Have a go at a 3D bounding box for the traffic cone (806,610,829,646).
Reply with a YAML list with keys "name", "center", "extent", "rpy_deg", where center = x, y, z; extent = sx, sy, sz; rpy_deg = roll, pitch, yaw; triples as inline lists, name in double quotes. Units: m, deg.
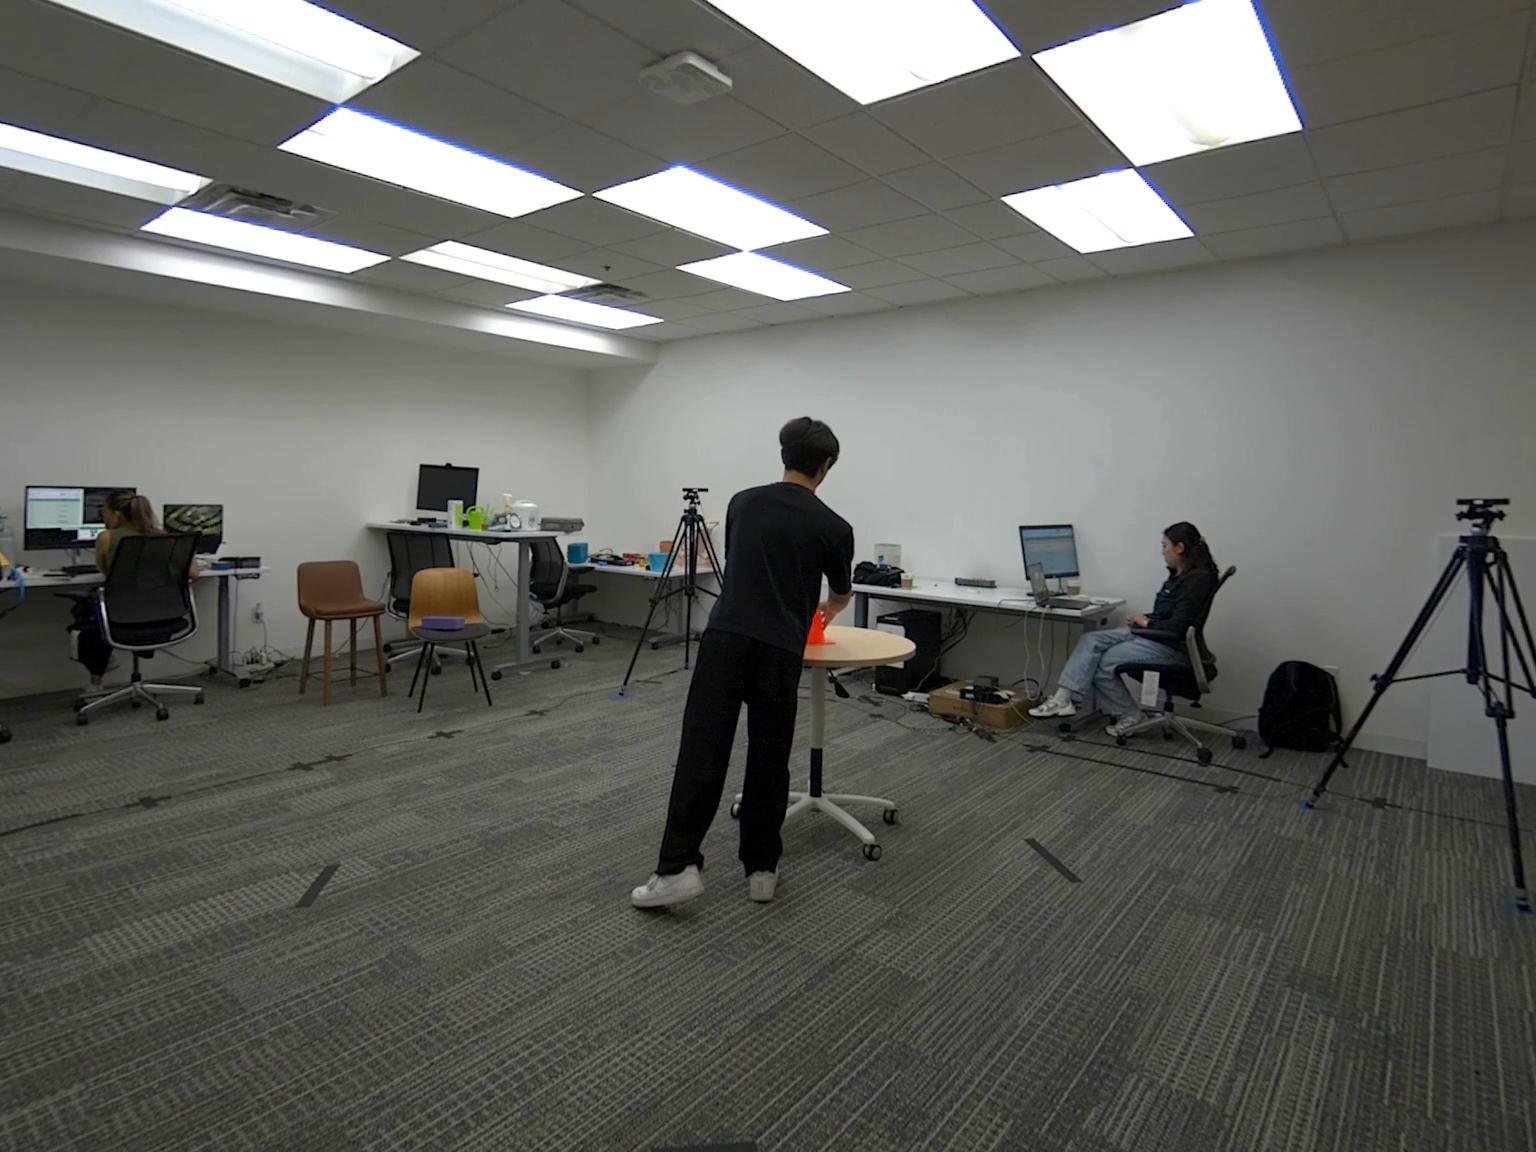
- name: "traffic cone"
  center: [0.150, 0.073, 3.462]
  extent: [0.200, 0.382, 0.209]
  rpy_deg: [-1, 5, -17]
